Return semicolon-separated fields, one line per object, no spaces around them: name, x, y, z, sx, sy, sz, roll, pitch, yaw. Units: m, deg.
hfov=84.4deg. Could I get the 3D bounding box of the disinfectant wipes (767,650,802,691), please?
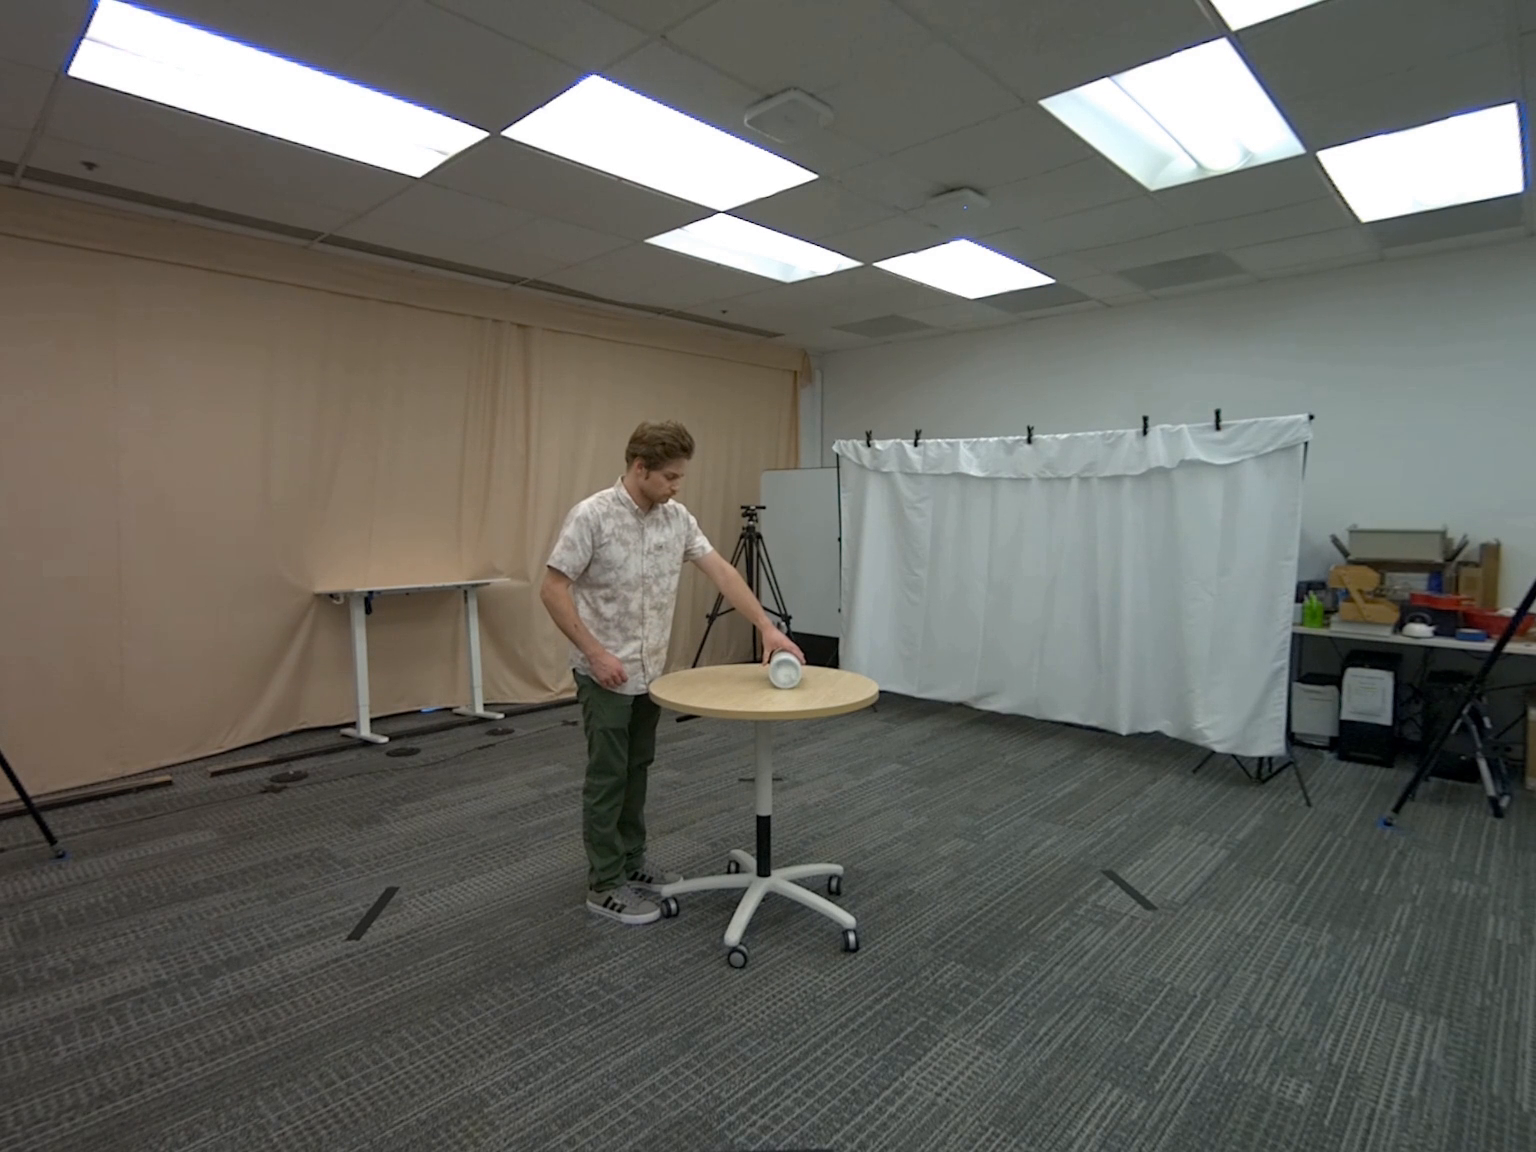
disinfectant wipes;0.063;0.309;2.840;0.118;0.117;0.218;0;5;-2
